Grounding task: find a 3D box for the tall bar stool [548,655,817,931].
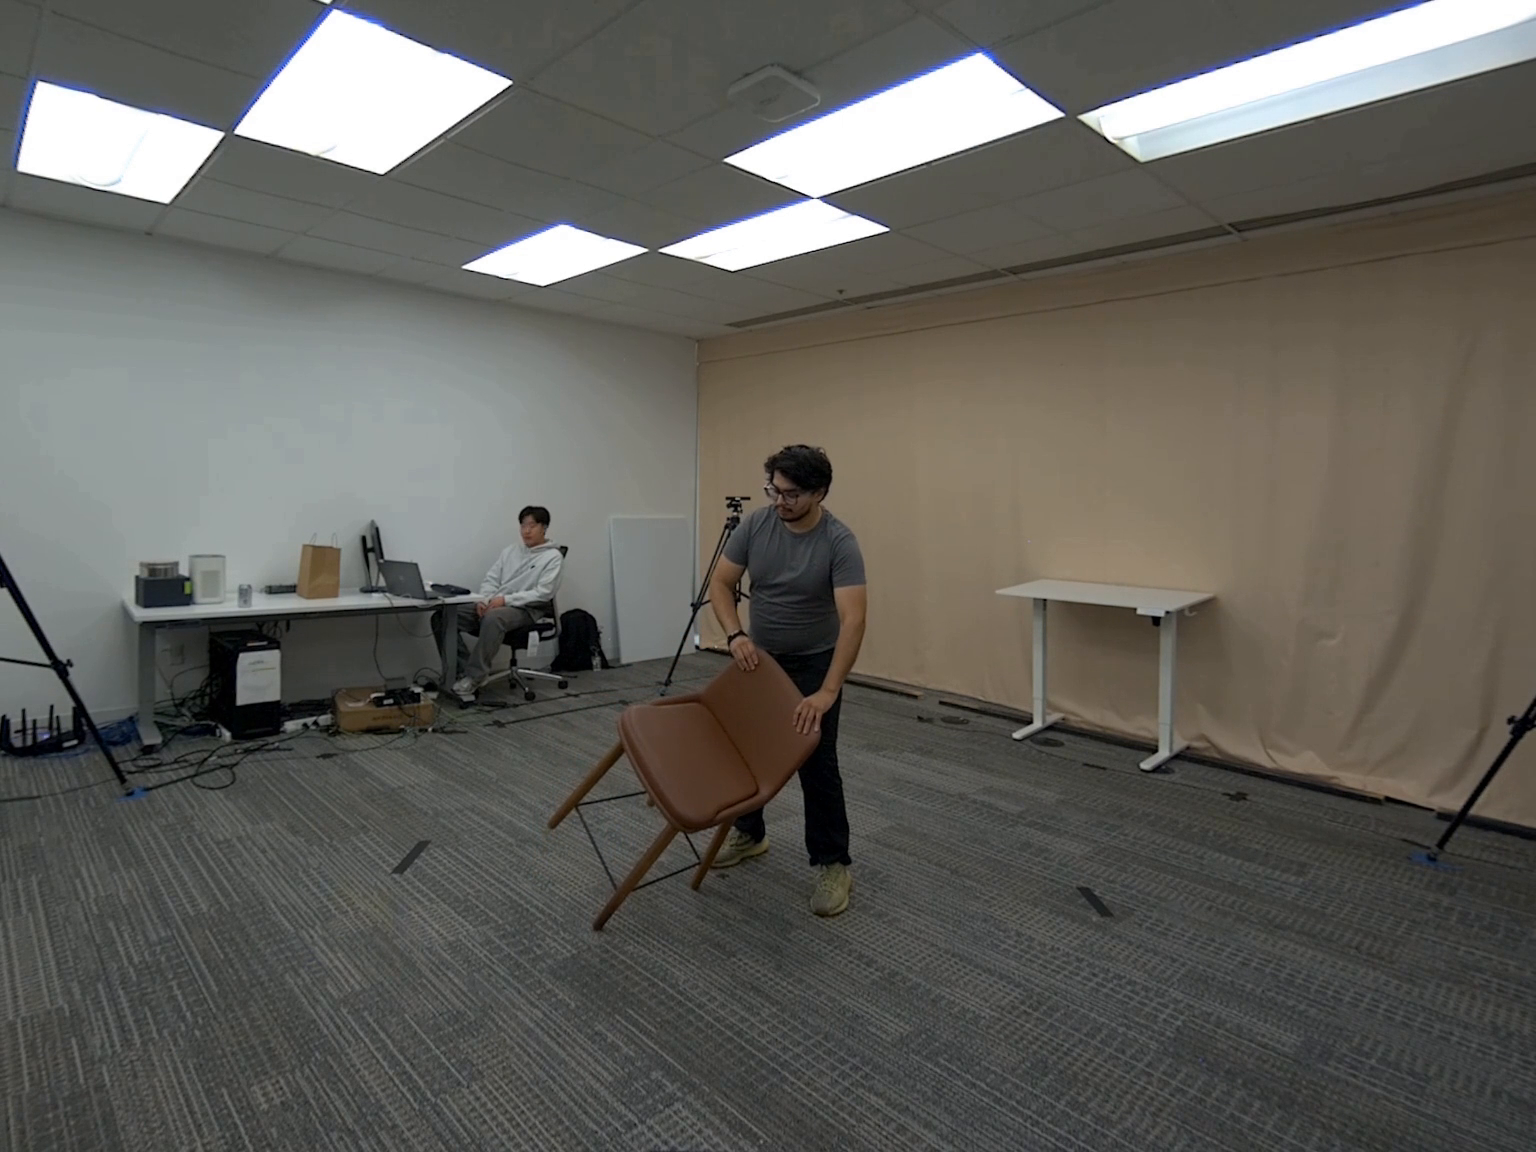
[{"bbox_3d":[-0.295,0.683,2.738,0.456,0.886,0.470,2,41,-46],"label":"tall bar stool"}]
